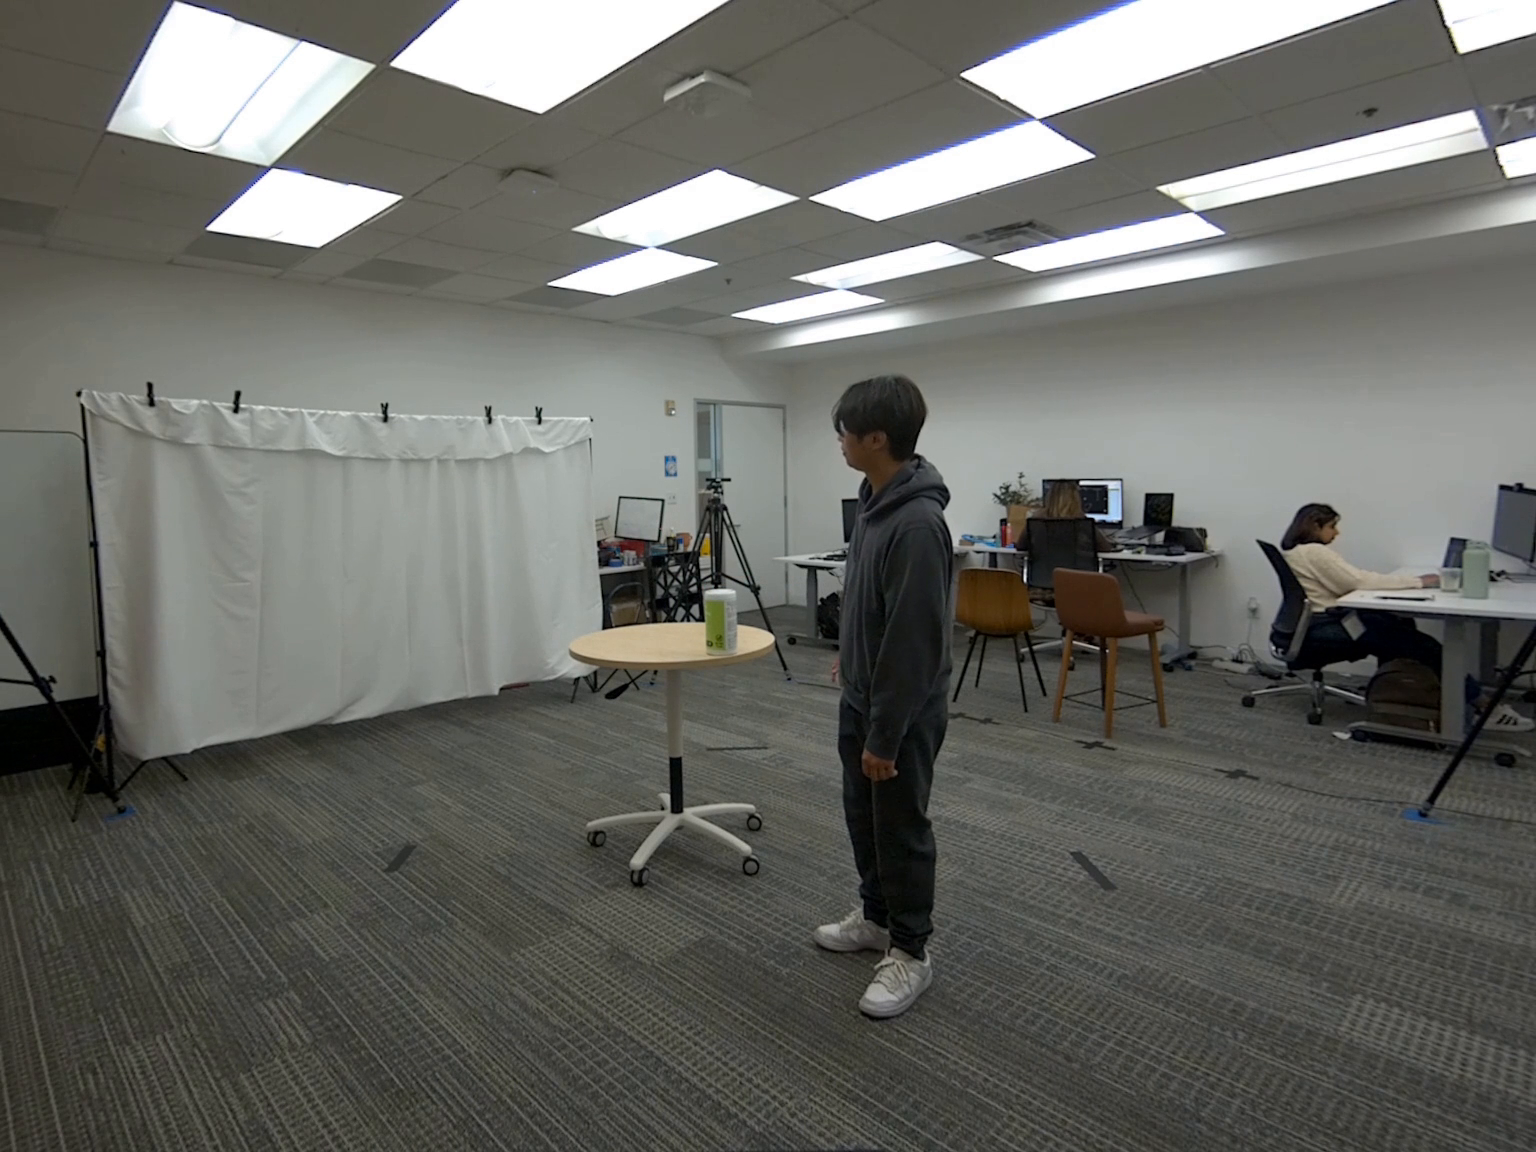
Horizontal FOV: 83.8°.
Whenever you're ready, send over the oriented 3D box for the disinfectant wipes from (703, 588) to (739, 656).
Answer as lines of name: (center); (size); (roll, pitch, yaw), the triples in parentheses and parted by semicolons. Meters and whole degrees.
disinfectant wipes: (-0.156, 0.161, 2.931); (0.118, 0.216, 0.118); (0, 6, -2)
